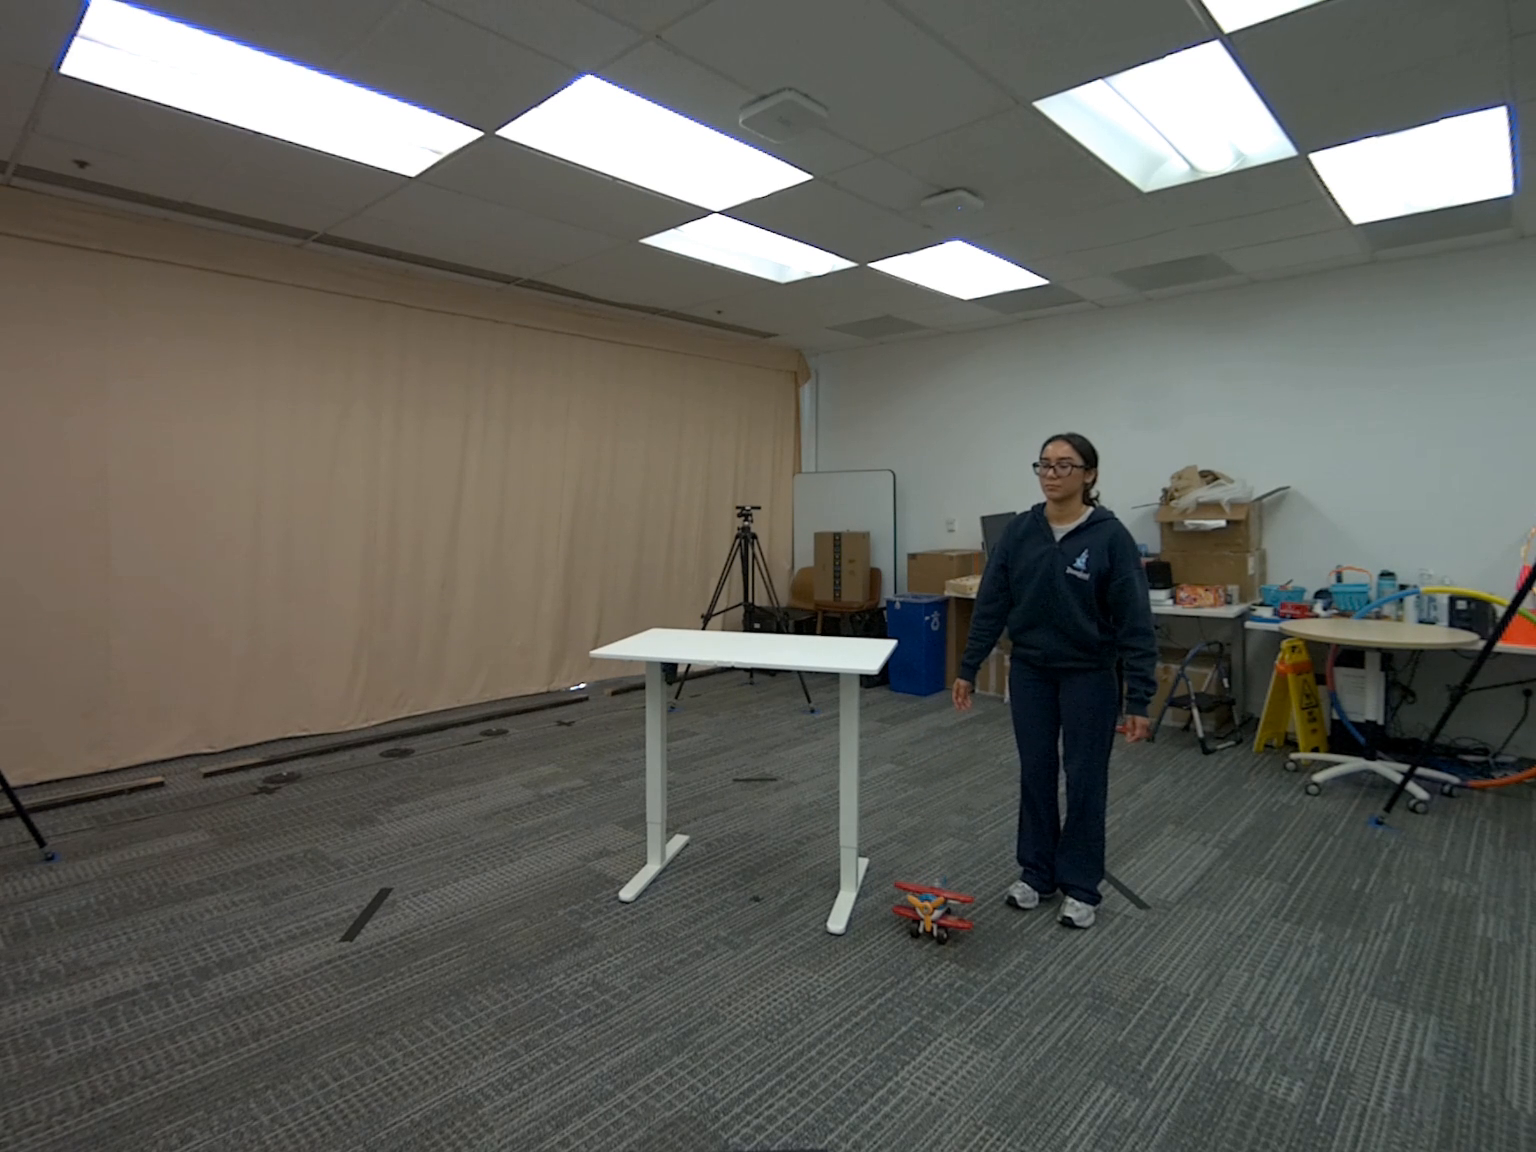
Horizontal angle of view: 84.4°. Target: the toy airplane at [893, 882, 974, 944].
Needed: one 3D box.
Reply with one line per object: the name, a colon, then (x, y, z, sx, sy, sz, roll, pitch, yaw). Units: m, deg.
toy airplane: (0.559, 1.079, 2.770, 0.251, 0.156, 0.260, -1, 5, -1)
